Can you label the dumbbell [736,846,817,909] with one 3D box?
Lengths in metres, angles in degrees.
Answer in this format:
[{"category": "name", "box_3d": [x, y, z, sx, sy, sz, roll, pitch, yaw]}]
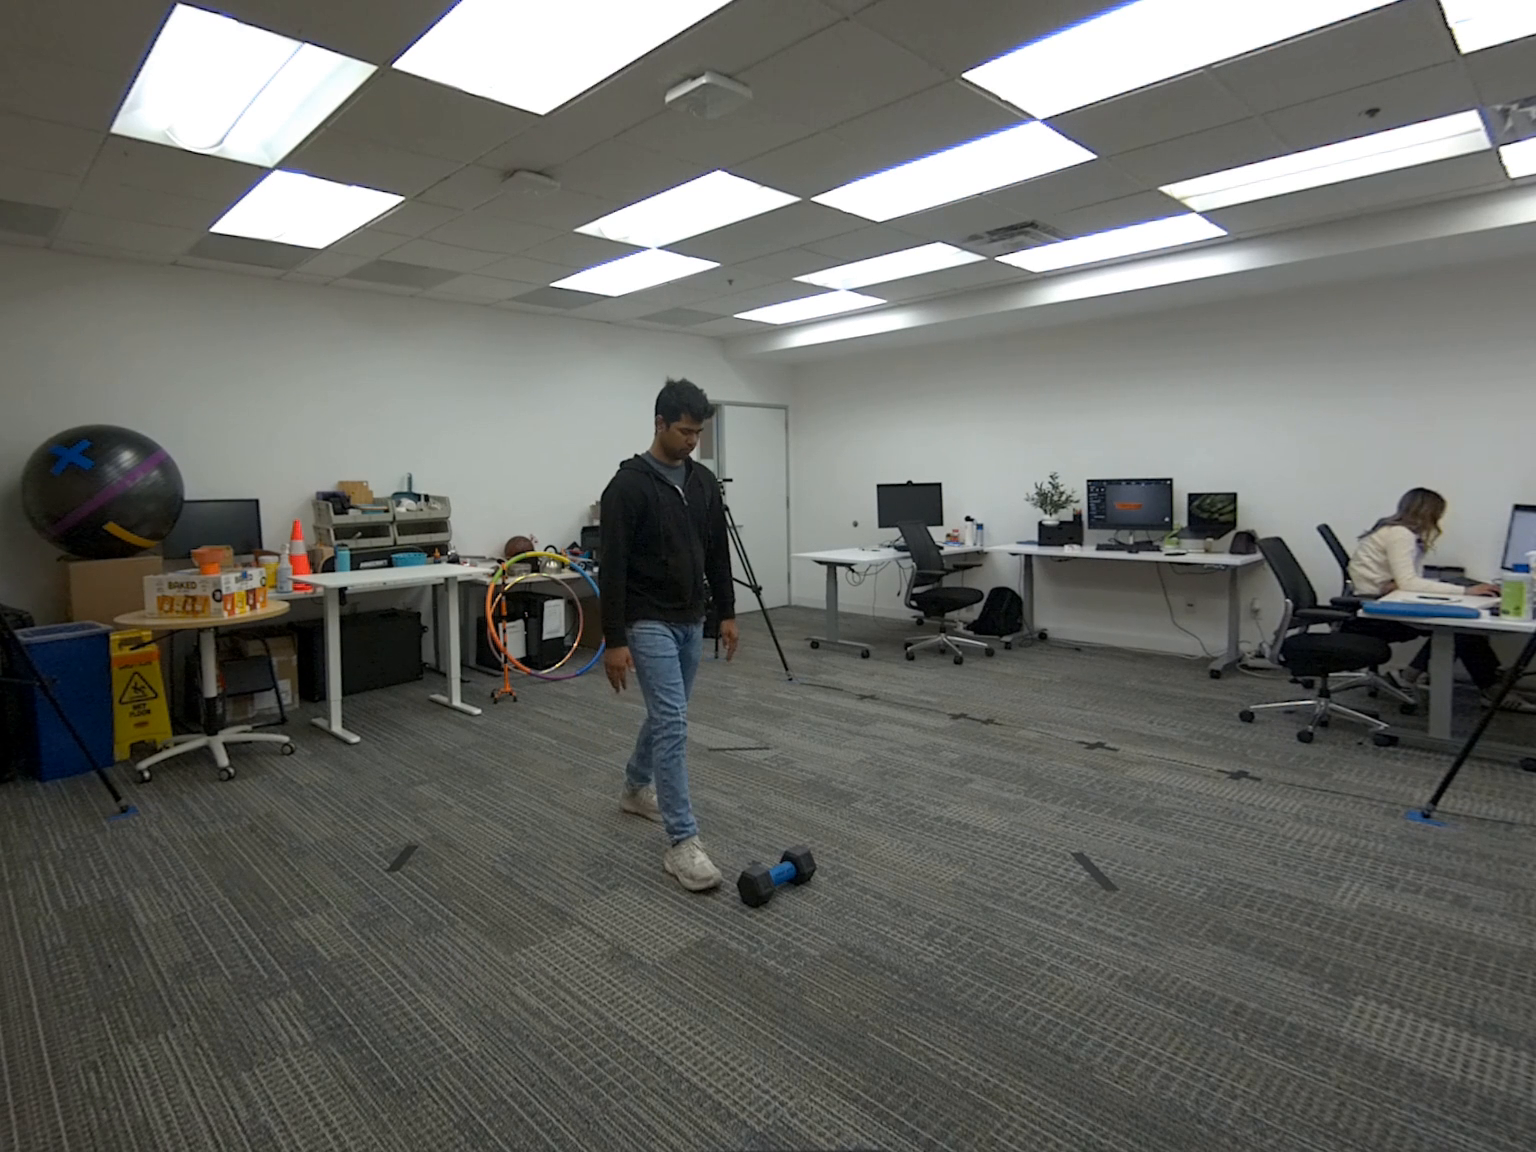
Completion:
[{"category": "dumbbell", "box_3d": [0.037, 1.012, 2.892, 0.286, 0.125, 0.109, -6, -24, -45]}]
